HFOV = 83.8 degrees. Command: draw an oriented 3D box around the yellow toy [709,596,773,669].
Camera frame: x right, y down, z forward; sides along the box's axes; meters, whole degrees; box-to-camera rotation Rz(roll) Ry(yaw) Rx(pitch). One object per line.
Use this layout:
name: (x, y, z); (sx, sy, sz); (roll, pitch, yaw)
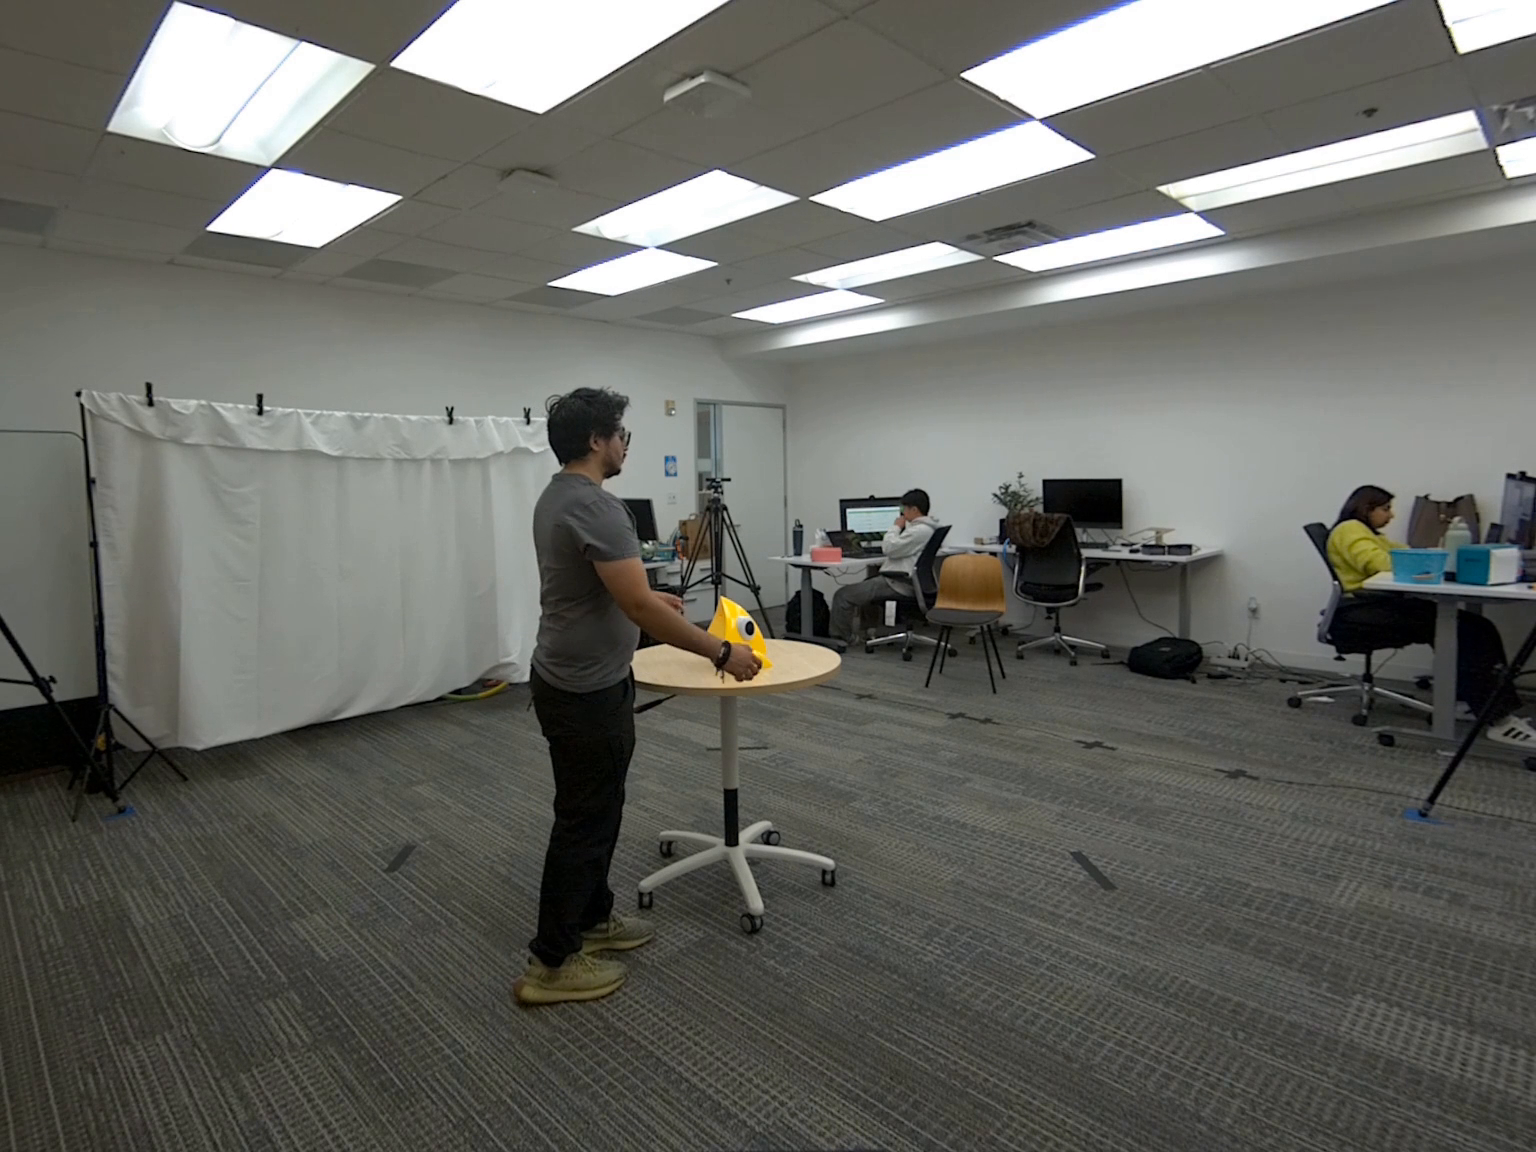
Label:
yellow toy: (-0.088, 0.180, 2.822); (0.190, 0.230, 0.209); (-3, 5, -20)
